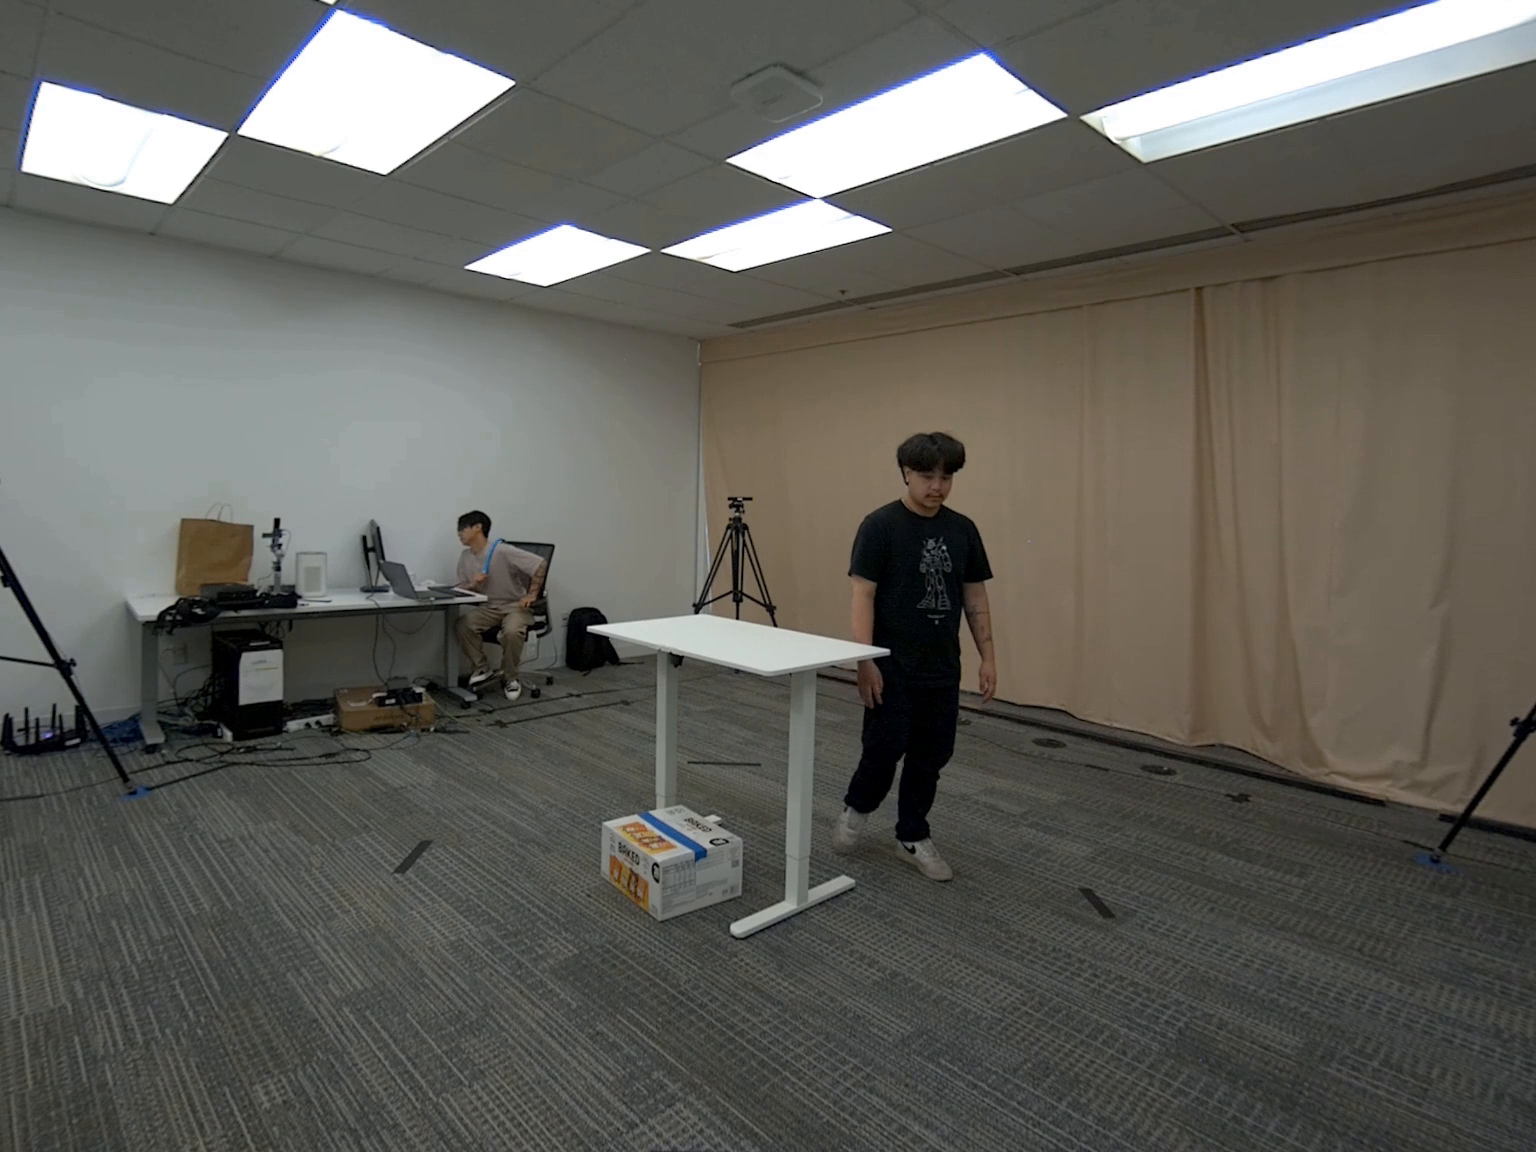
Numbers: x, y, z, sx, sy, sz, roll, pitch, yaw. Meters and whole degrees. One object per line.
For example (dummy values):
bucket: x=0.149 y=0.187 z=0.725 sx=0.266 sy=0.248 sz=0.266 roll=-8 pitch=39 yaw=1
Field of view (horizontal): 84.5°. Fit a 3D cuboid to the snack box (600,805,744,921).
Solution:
snack box: x=-0.354 y=1.013 z=3.001 sx=0.333 sy=0.205 sz=0.415 roll=-2 pitch=6 yaw=-38
